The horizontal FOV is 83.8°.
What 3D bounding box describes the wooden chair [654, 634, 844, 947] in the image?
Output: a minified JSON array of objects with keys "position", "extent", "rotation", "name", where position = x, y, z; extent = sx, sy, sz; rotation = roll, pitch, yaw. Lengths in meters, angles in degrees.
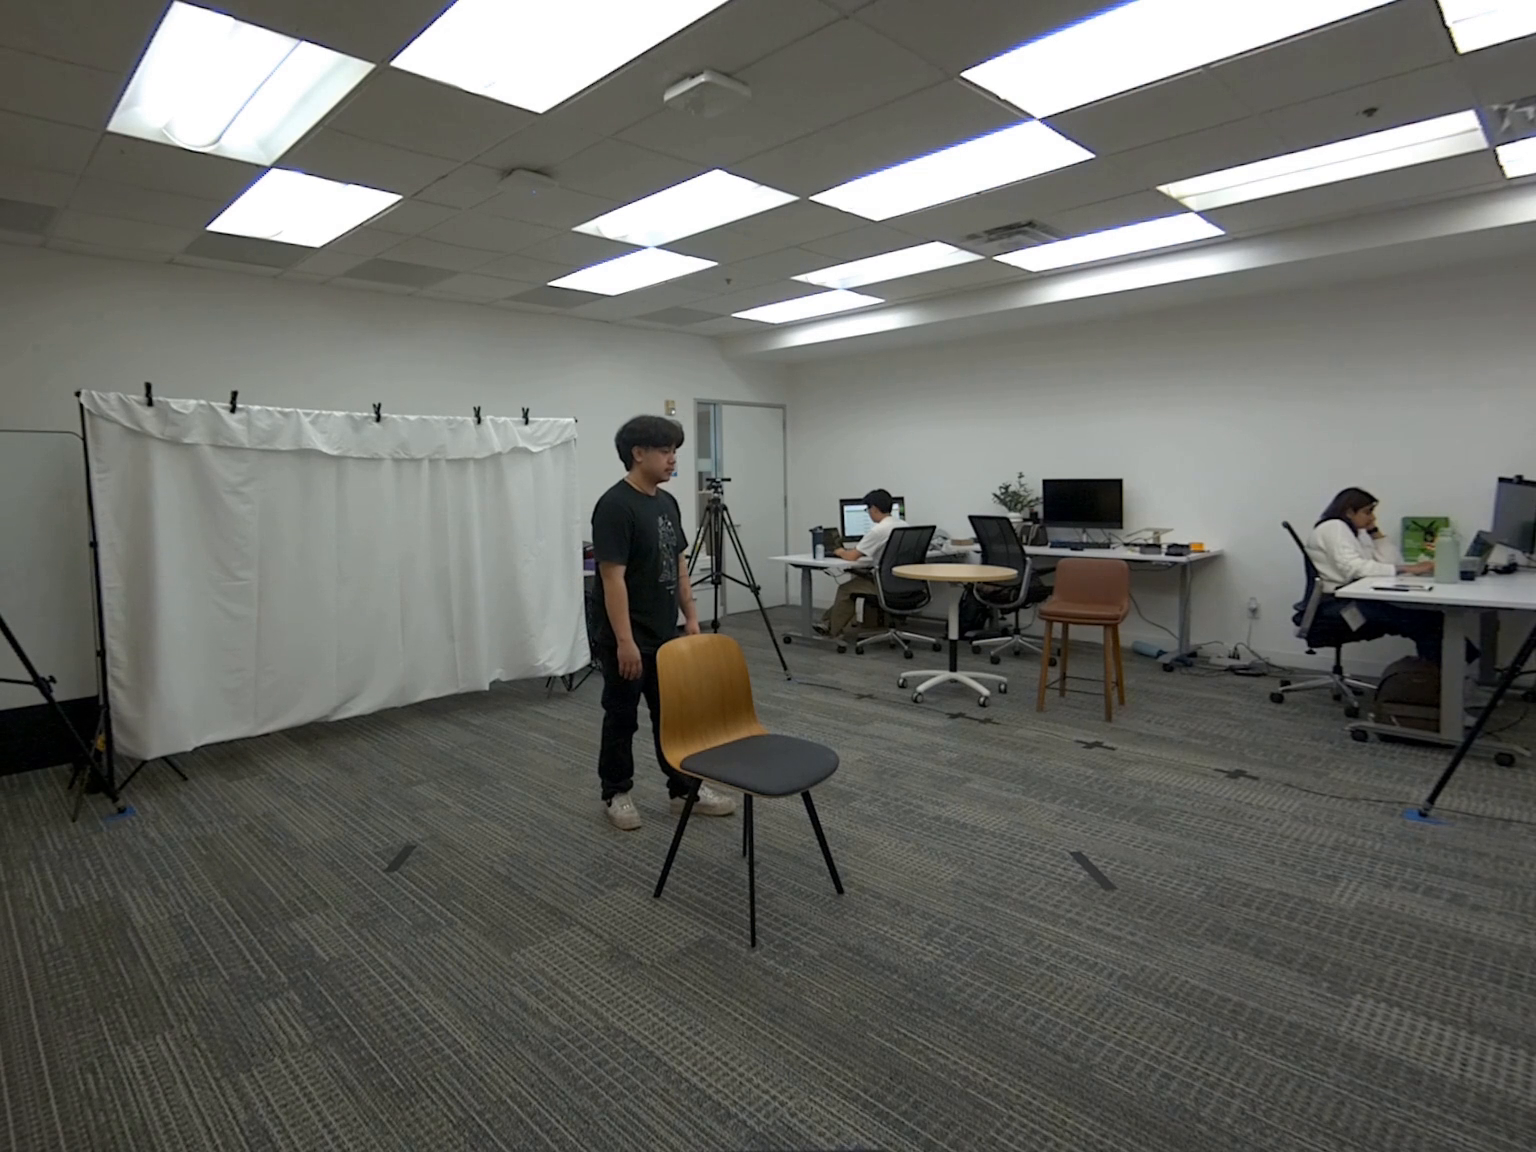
[{"position":[-0.063,0.647,2.824],"extent":[0.537,0.877,0.465],"rotation":[-3,1,43],"name":"wooden chair"}]
